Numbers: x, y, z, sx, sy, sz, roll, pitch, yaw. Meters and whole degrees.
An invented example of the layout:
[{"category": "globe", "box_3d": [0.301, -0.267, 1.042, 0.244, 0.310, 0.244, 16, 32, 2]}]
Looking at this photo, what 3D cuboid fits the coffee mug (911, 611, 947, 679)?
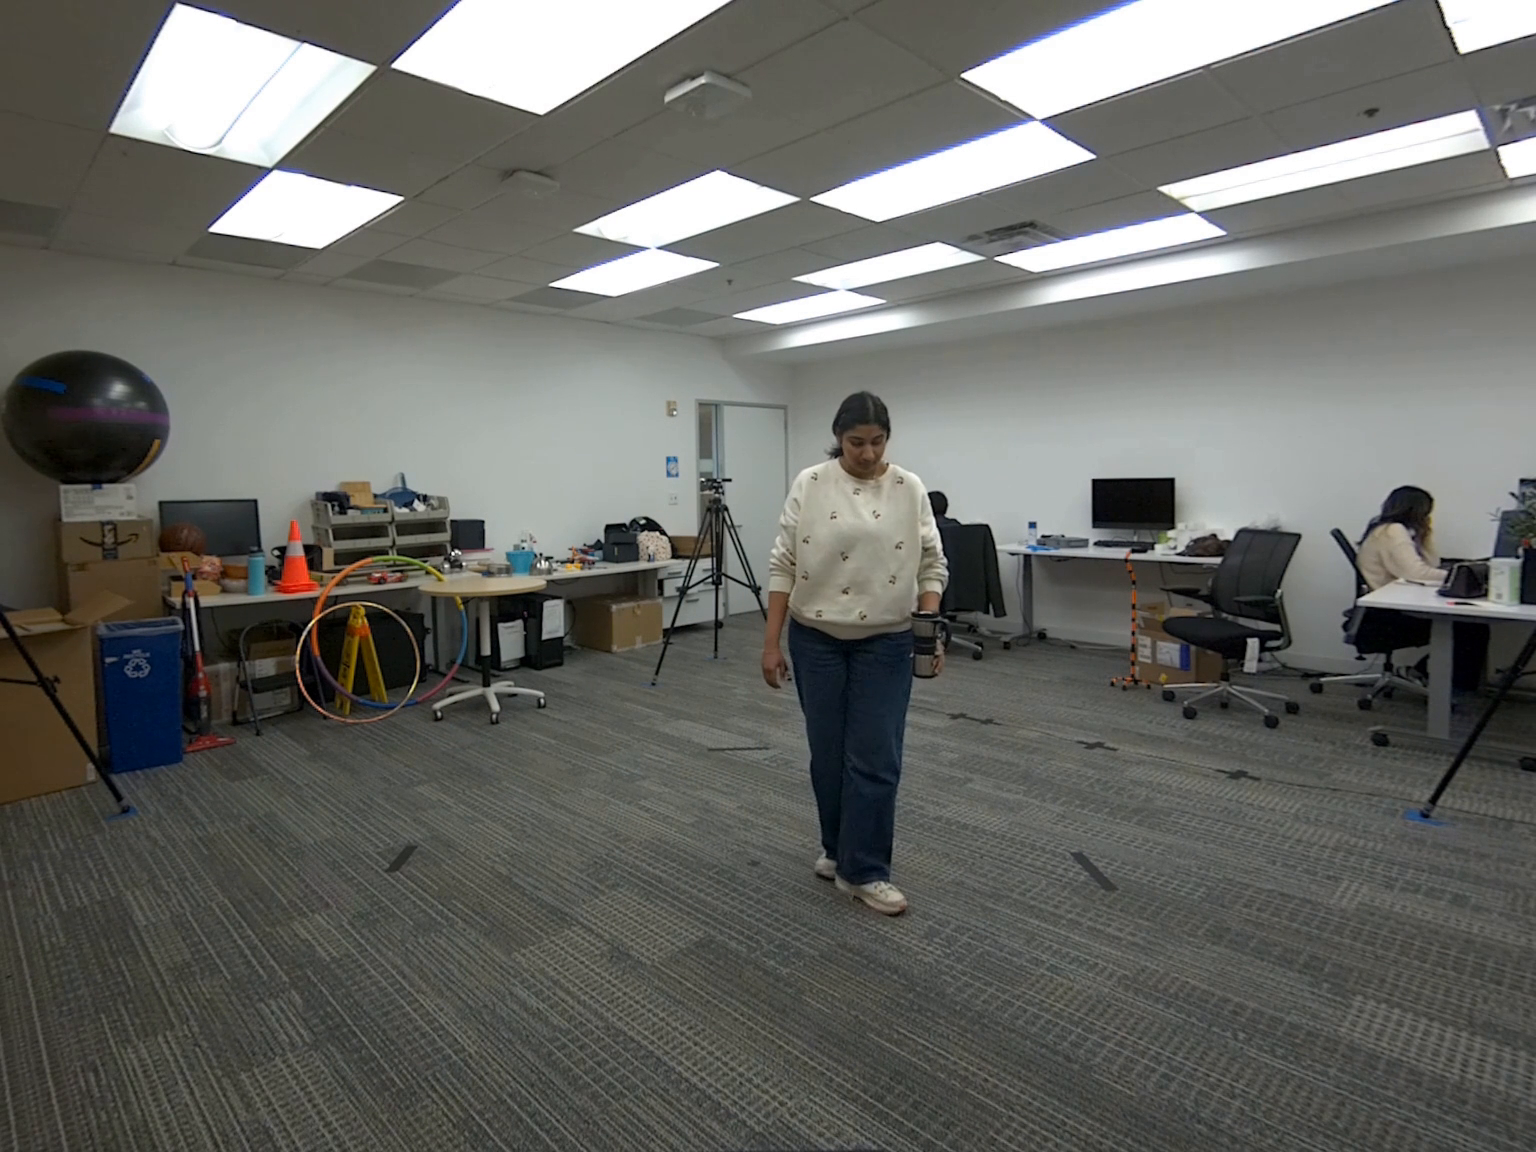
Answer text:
[{"category": "coffee mug", "box_3d": [0.501, 0.213, 2.603, 0.086, 0.202, 0.125, -3, 4, -30]}]
